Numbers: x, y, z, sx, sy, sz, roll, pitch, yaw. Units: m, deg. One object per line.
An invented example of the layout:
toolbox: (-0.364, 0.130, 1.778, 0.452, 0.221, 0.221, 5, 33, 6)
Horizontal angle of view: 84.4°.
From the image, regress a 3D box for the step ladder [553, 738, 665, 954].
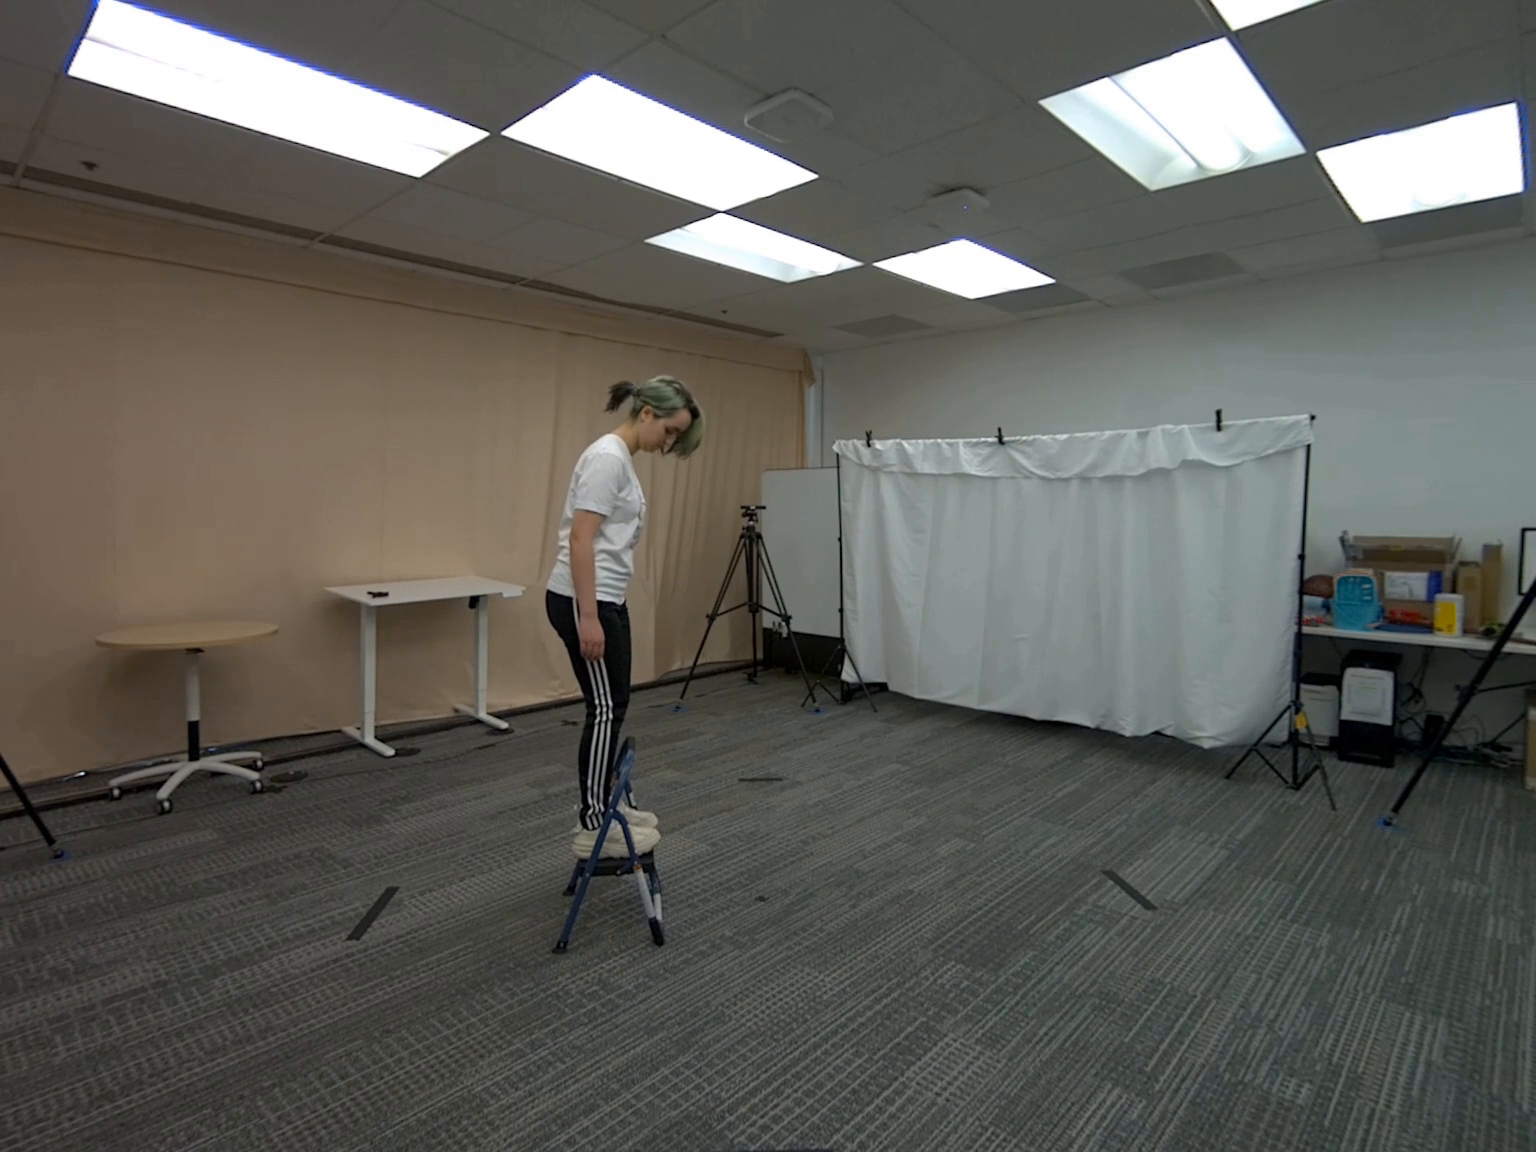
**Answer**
step ladder: (-0.531, 0.862, 2.836, 0.347, 0.605, 0.435, -2, 3, -8)
